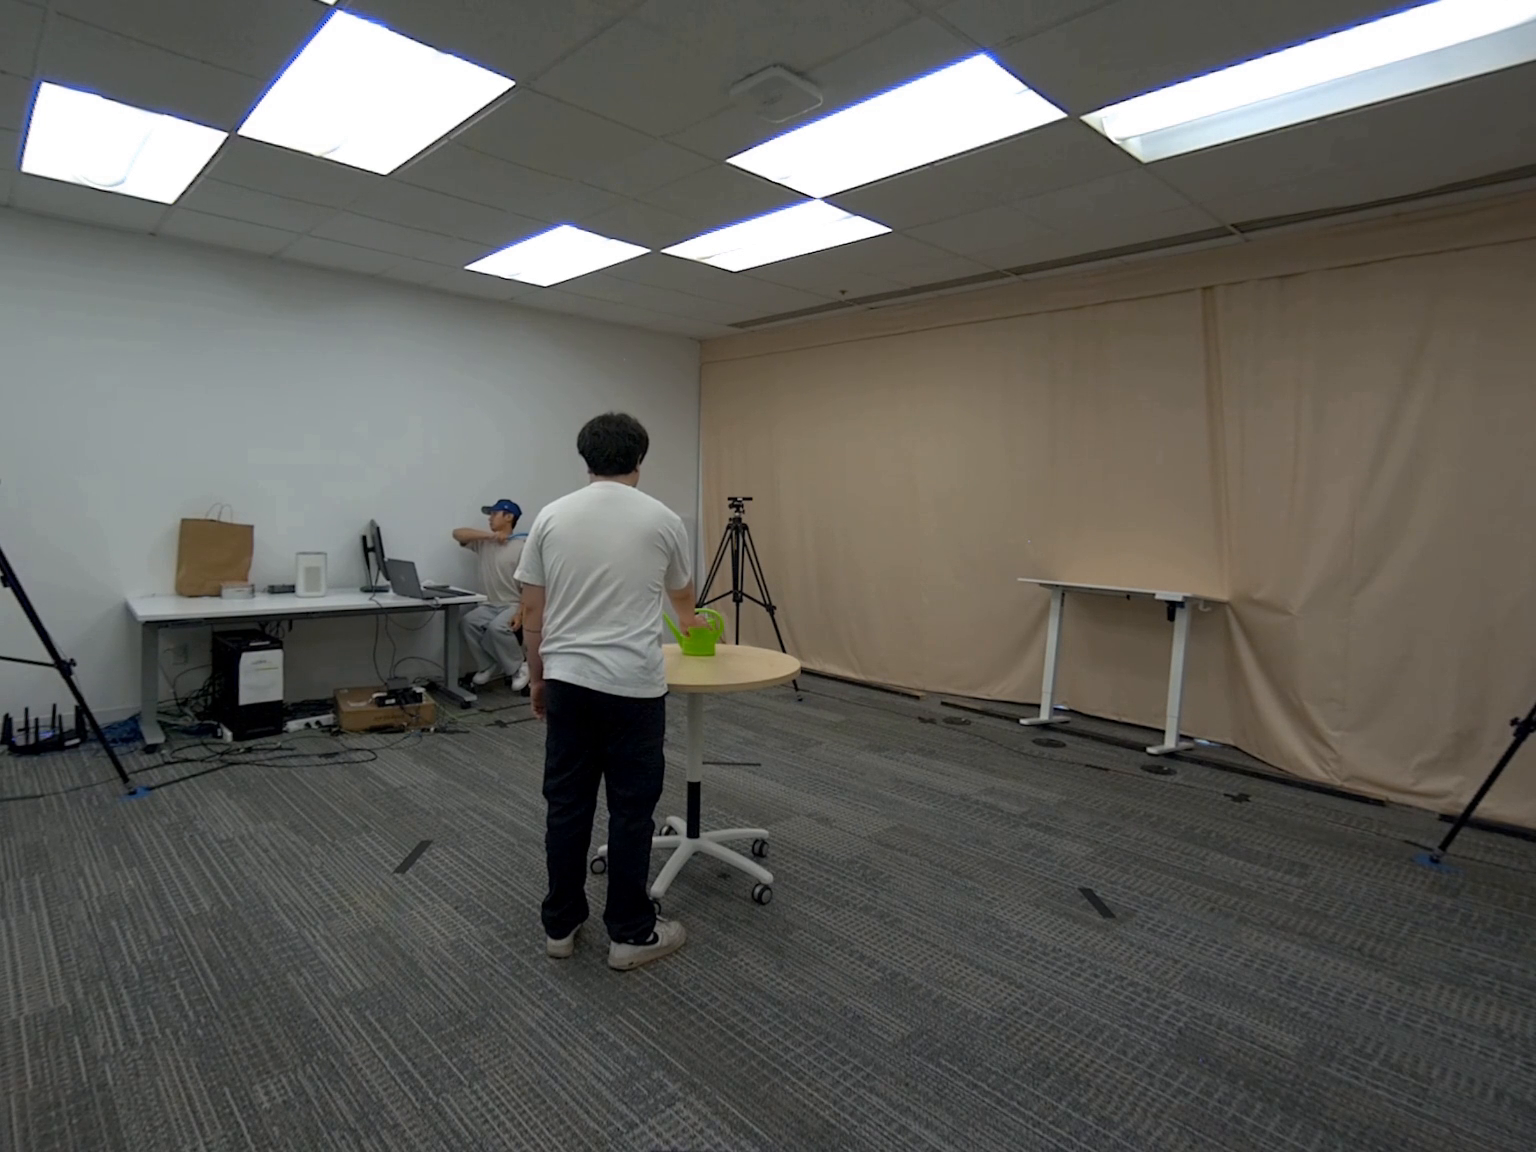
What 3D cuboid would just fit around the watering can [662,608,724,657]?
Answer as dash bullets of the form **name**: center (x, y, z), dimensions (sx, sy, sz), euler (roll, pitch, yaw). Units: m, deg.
- **watering can**: center (-0.317, 0.216, 3.238), dimensions (0.283, 0.176, 0.096), euler (4, 3, 24)
